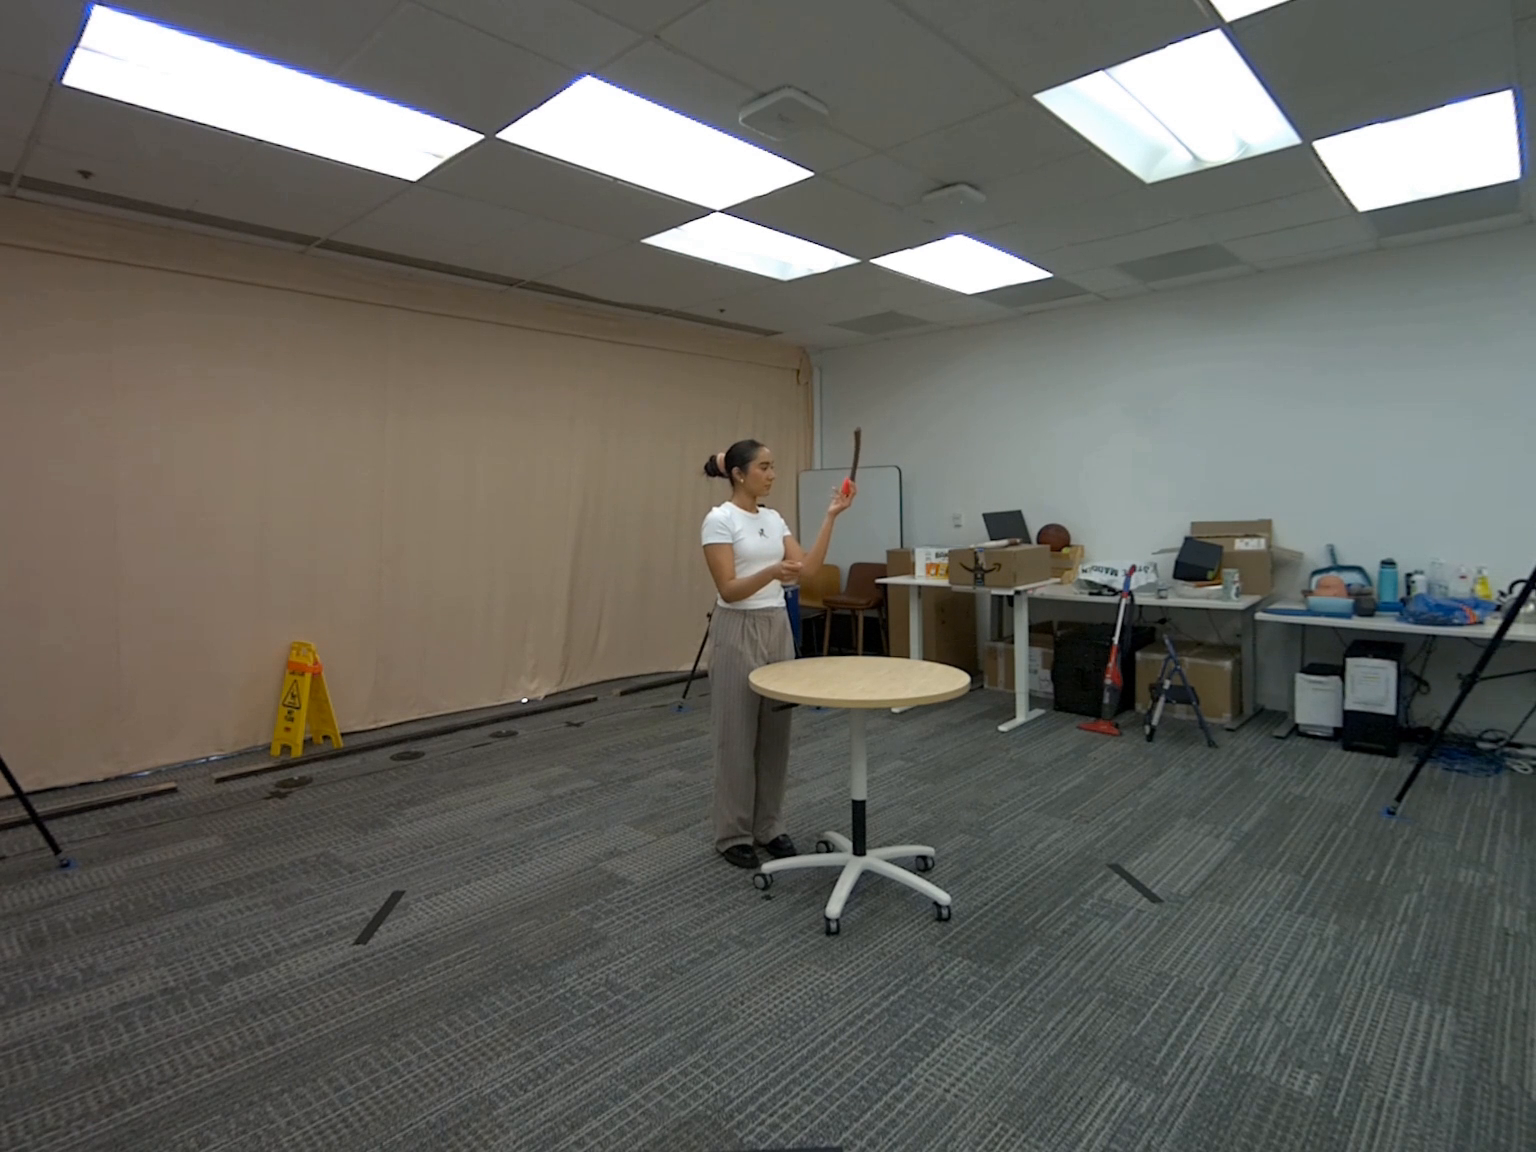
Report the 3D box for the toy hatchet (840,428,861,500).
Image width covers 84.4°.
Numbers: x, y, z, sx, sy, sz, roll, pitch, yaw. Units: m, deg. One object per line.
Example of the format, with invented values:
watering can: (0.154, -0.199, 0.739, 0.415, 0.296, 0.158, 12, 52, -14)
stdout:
toy hatchet: (0.317, -0.421, 3.199, 0.030, 0.266, 0.129, 15, 31, 30)
